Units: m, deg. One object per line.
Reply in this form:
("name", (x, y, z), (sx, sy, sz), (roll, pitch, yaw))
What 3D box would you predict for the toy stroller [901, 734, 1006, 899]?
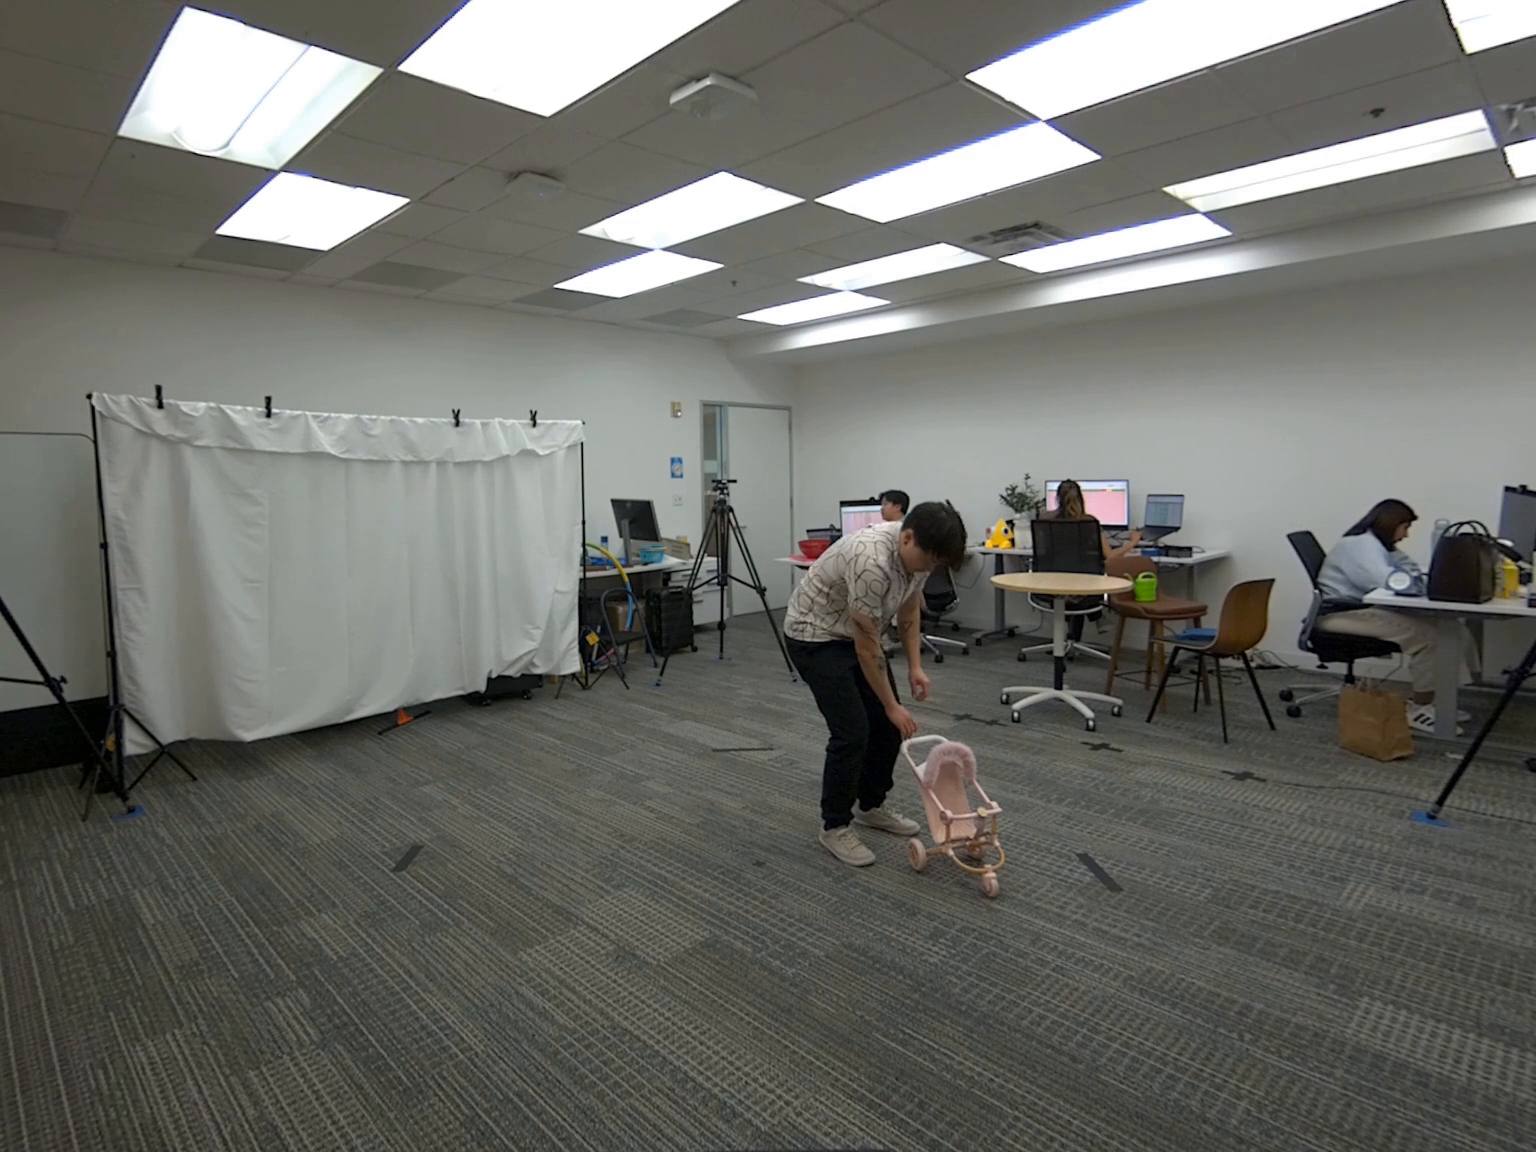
("toy stroller", (0.660, 0.823, 3.010), (0.277, 0.543, 0.342), (-2, -14, -17))
